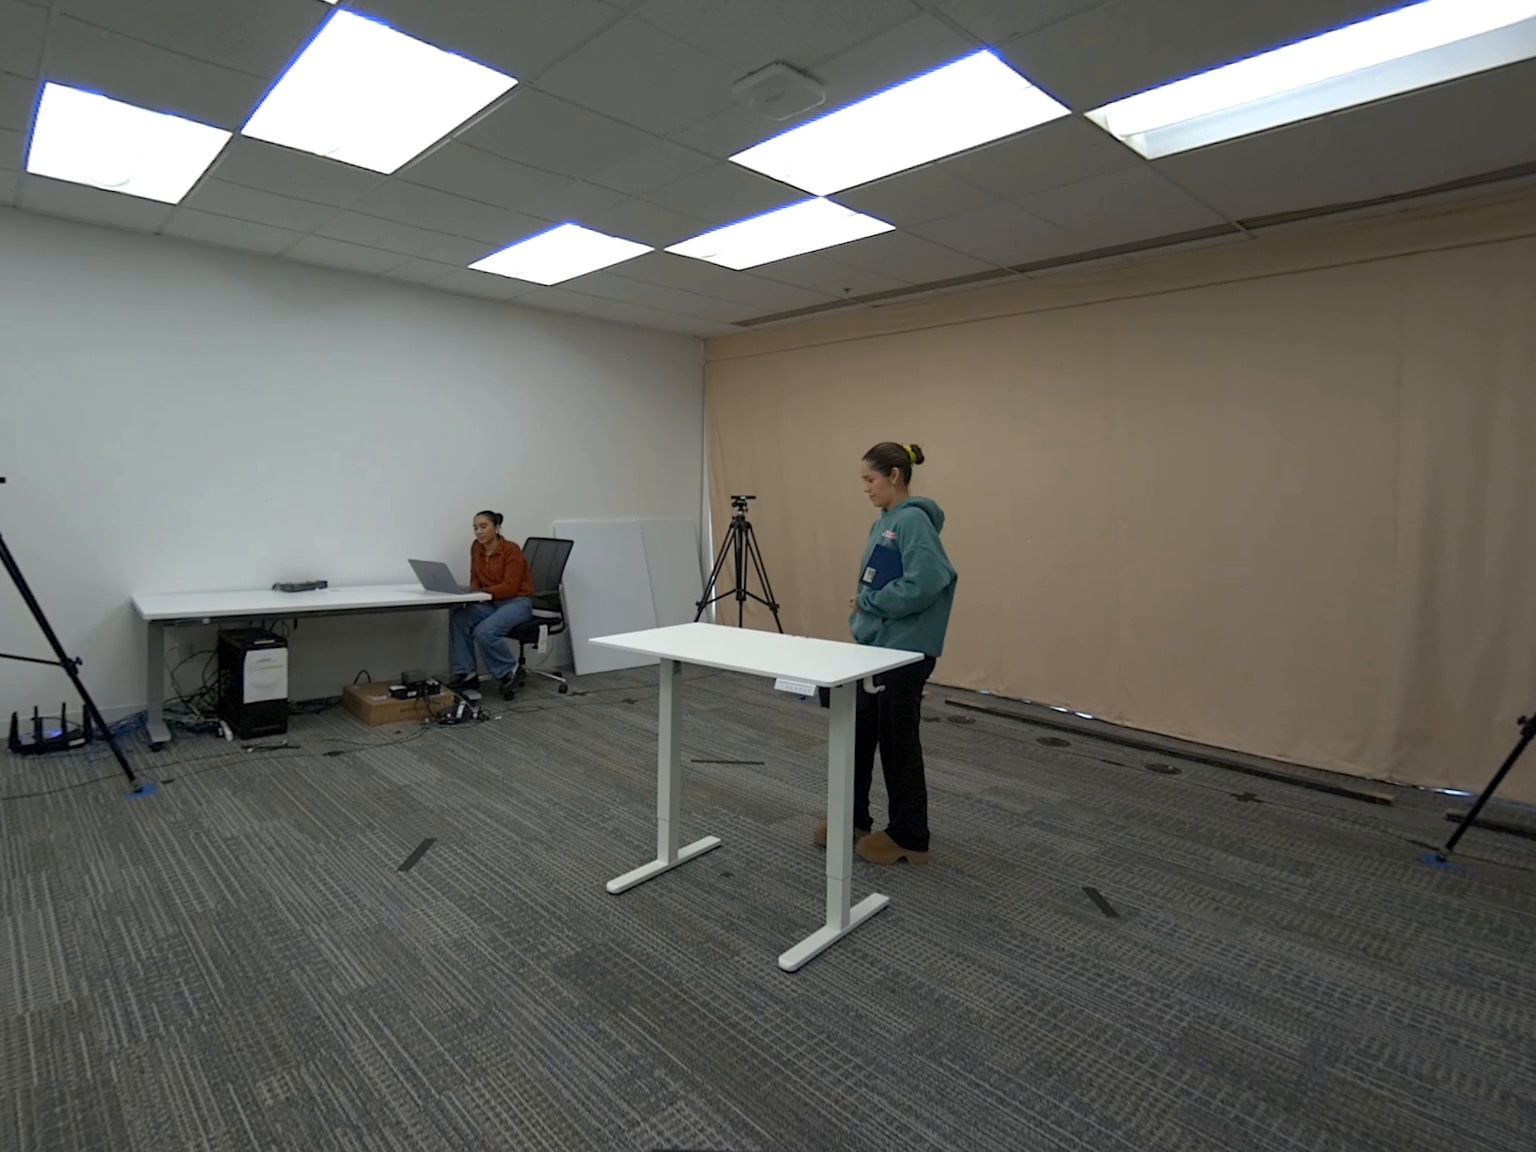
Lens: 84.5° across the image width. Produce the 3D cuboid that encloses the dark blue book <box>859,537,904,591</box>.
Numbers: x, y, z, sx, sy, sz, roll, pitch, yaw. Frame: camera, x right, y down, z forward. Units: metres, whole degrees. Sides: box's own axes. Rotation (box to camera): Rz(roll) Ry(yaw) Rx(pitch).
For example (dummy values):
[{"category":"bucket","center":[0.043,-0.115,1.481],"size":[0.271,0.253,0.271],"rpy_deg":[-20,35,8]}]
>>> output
[{"category":"dark blue book","center":[0.475,-0.007,3.154],"size":[0.248,0.163,0.045],"rpy_deg":[23,8,10]}]
